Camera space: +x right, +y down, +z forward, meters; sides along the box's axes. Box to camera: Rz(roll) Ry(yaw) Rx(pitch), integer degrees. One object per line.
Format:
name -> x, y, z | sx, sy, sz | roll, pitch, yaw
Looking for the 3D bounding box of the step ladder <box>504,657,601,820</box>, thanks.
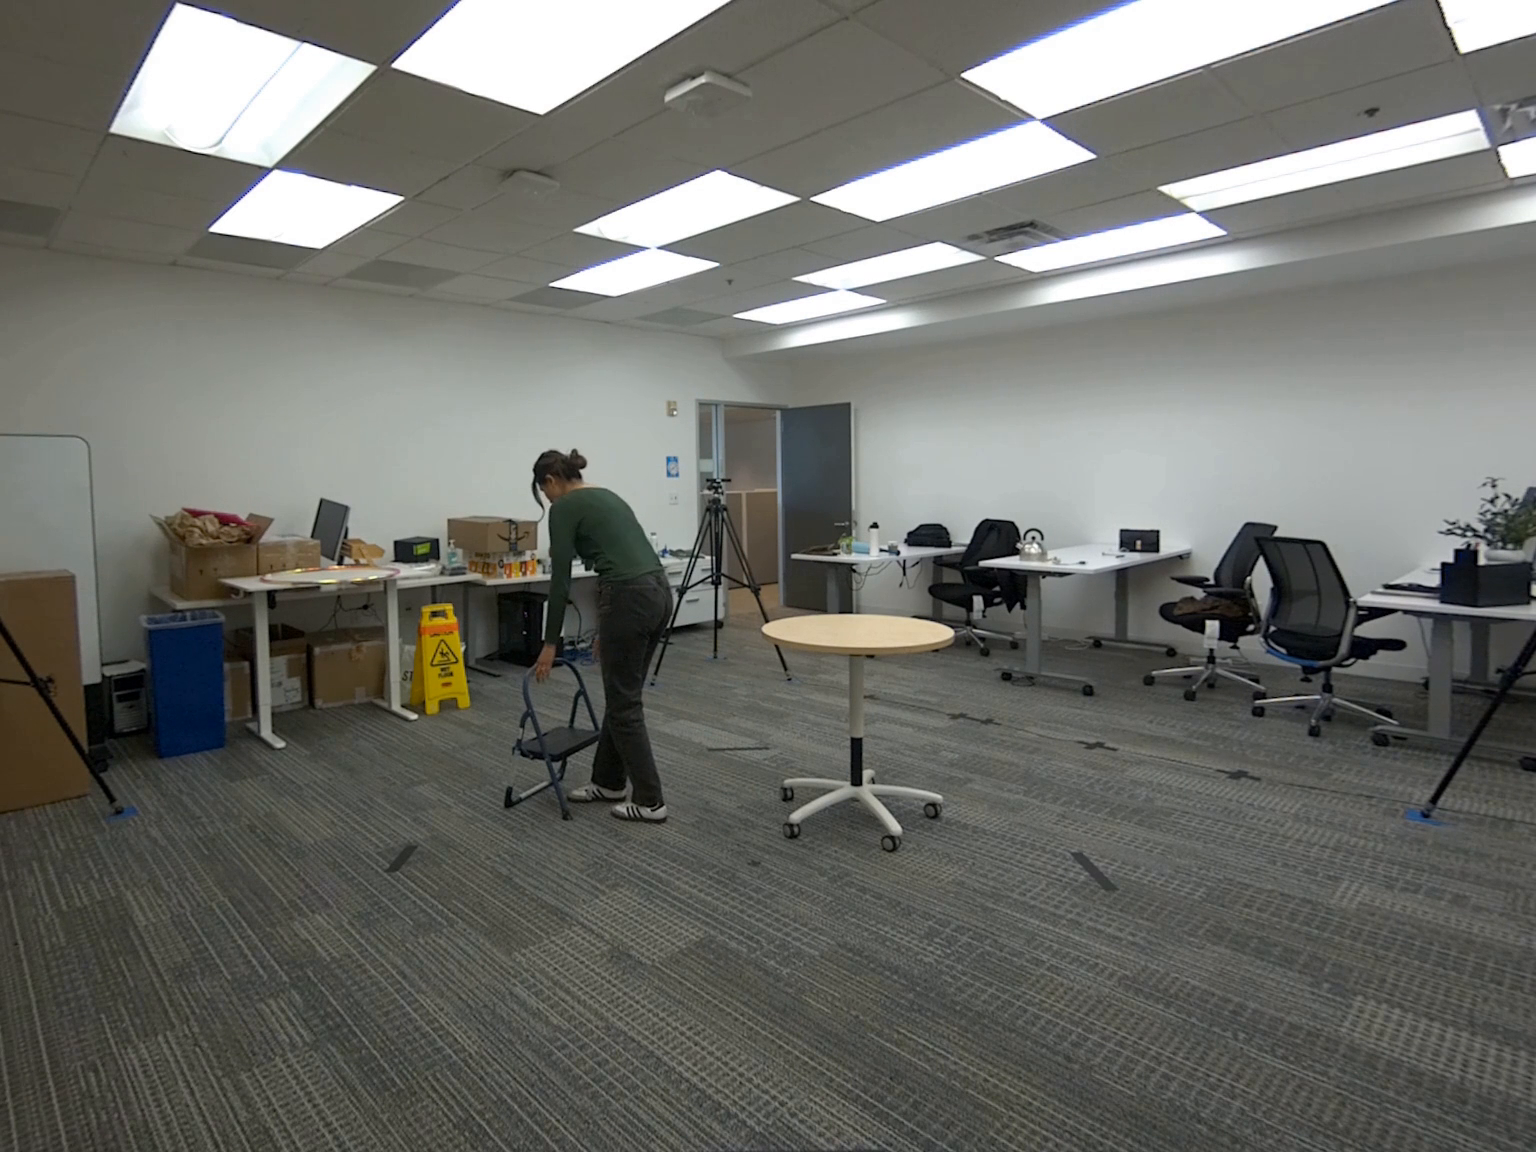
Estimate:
step ladder -> -0.915, 0.683, 3.784 | 0.357, 0.604, 0.423 | 0, 4, 23
